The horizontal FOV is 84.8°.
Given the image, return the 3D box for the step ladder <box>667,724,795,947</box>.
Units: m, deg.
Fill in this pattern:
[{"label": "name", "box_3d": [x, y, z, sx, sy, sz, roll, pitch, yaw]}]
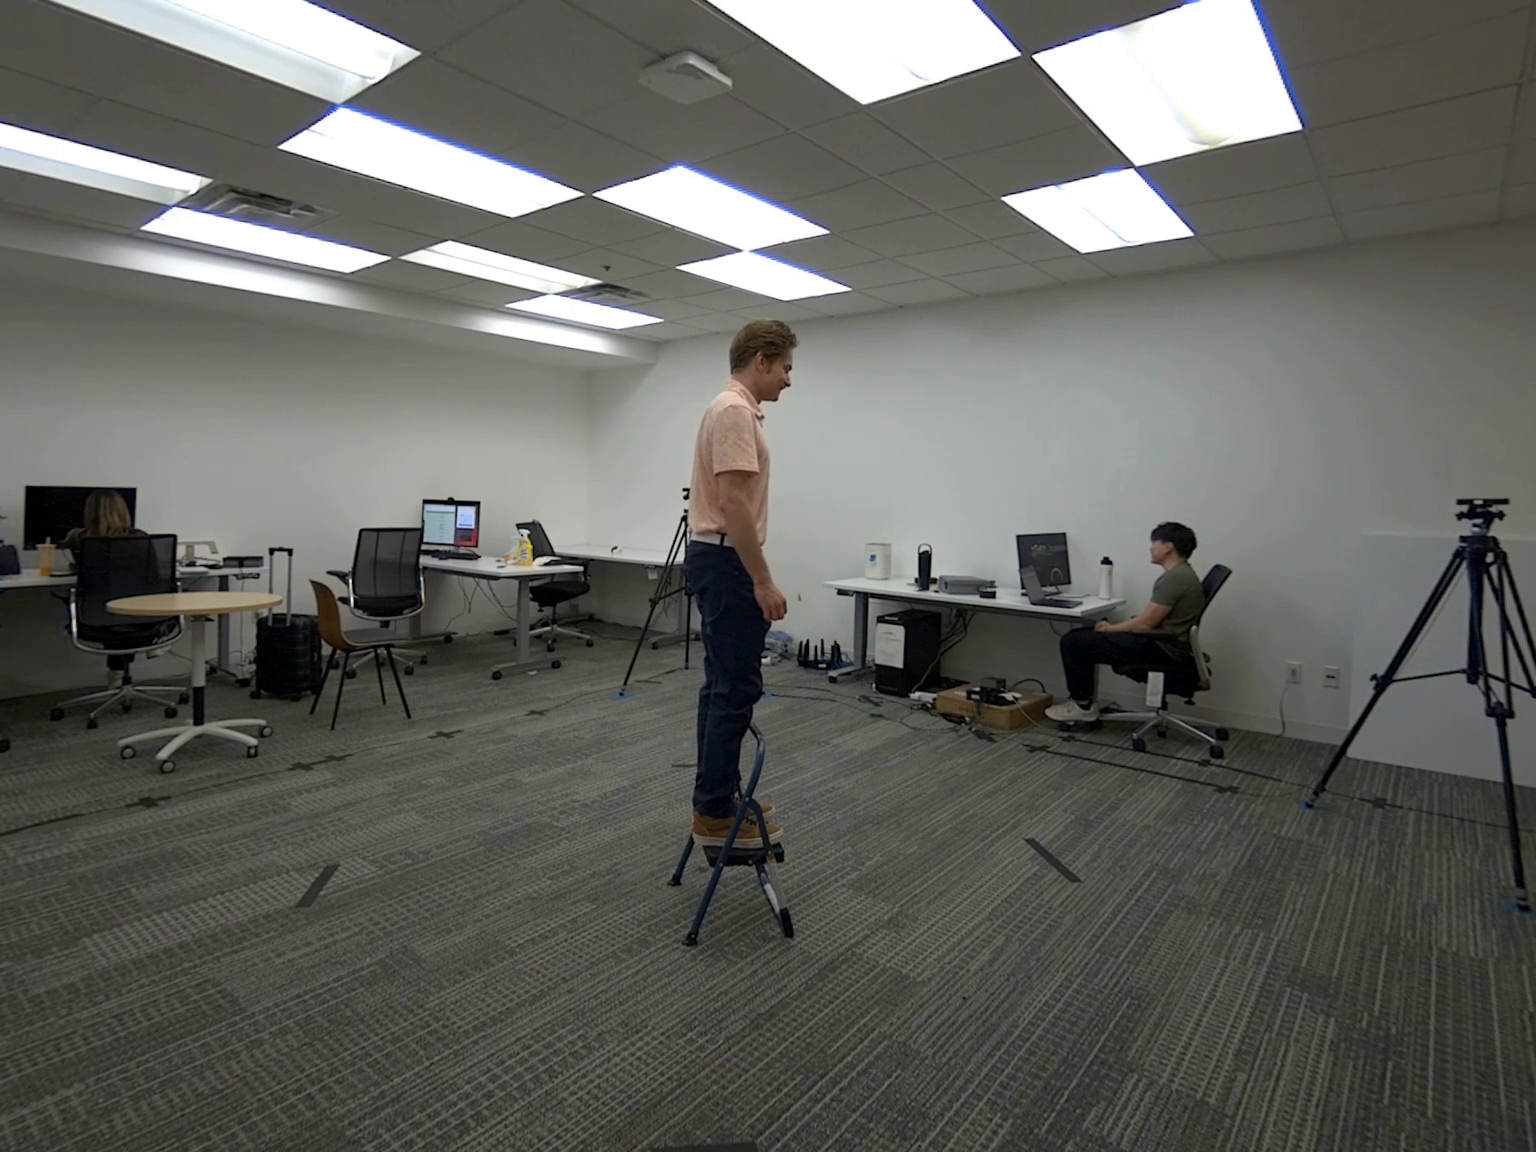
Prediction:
[{"label": "step ladder", "box_3d": [-0.128, 0.802, 2.802, 0.345, 0.604, 0.437, 0, 4, -12]}]
